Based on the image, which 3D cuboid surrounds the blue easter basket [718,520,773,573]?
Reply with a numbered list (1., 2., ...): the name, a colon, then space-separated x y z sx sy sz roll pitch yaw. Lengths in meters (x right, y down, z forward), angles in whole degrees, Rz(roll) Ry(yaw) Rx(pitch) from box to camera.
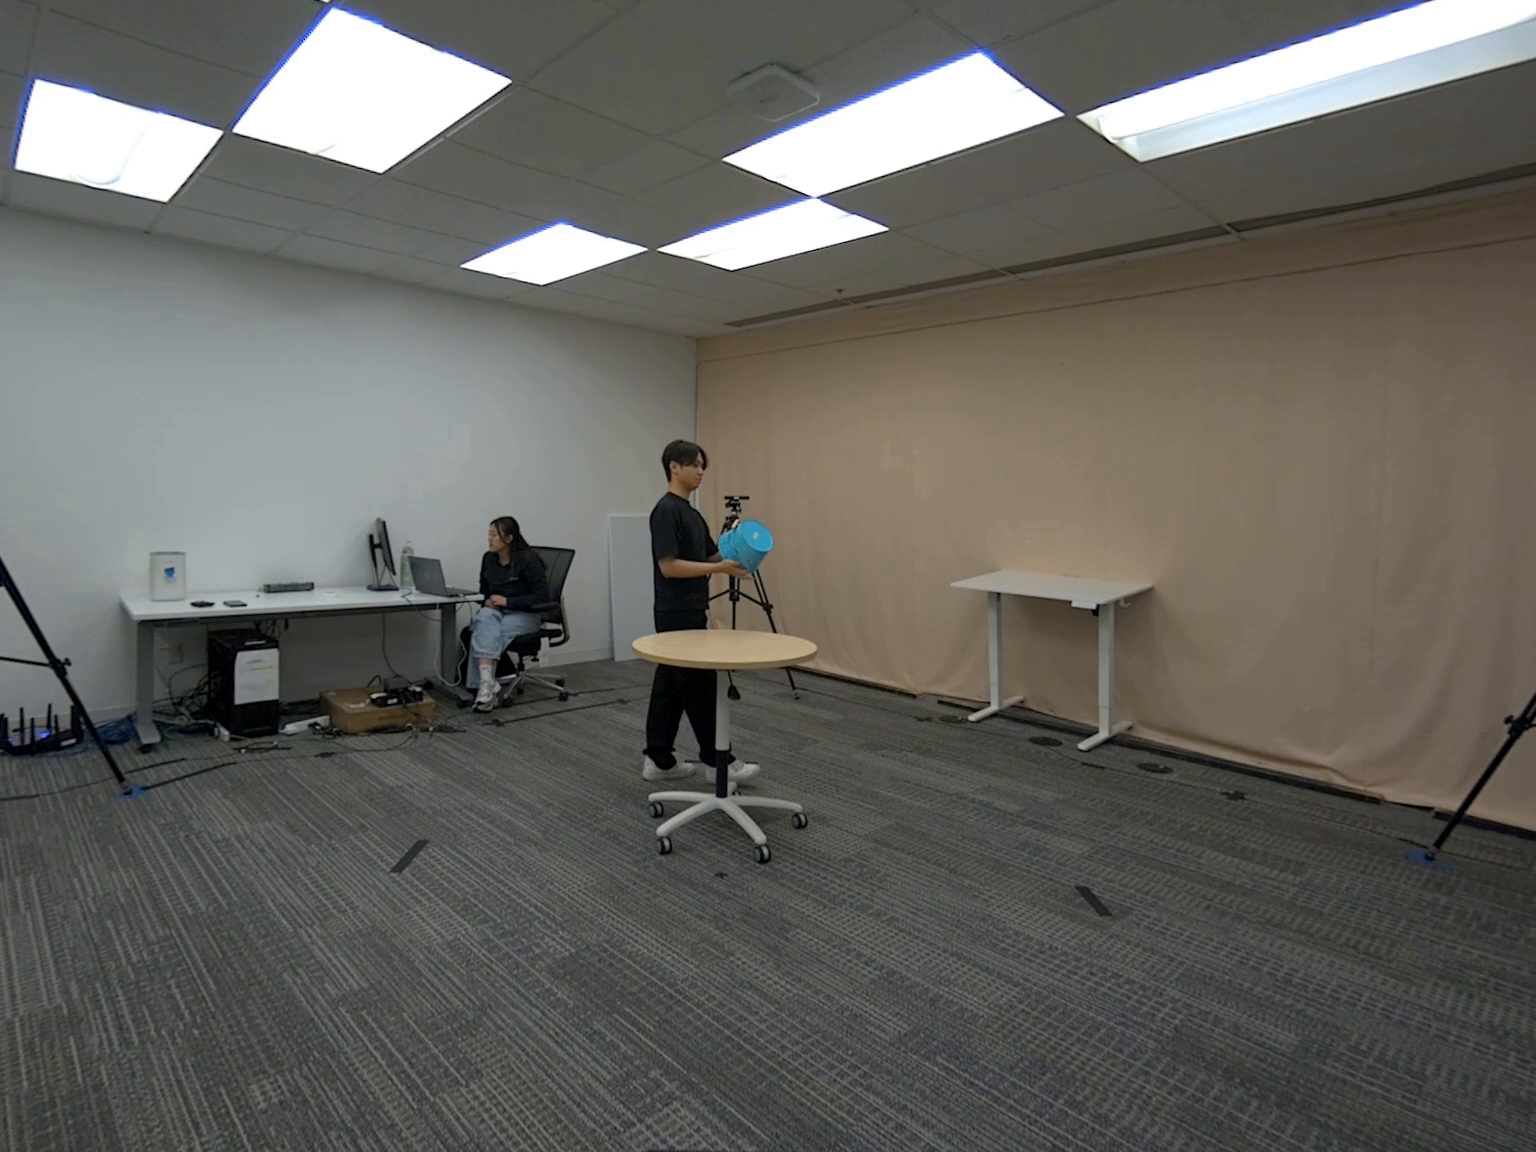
1. blue easter basket: -0.103 -0.145 3.939 0.238 0.249 0.156 -3 -31 -43
